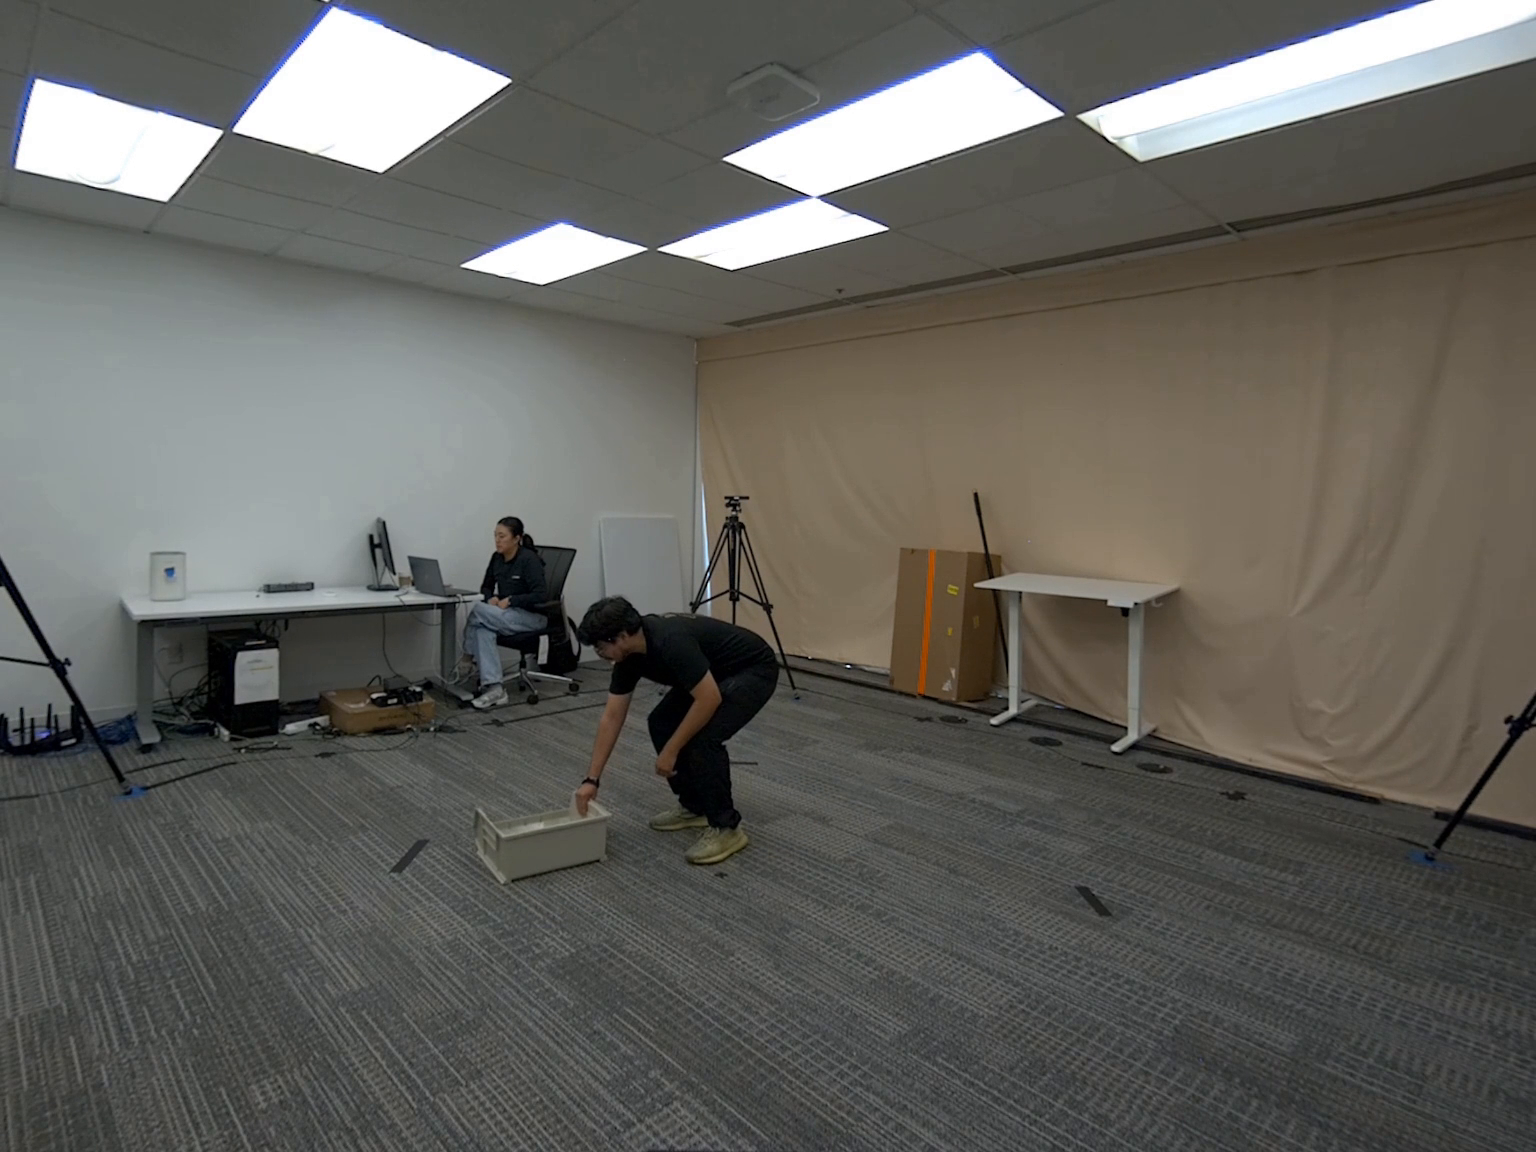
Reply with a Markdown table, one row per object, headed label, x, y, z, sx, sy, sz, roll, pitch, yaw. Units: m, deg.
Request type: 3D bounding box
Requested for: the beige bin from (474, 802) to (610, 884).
| label | x | y | z | sx | sy | sz | roll | pitch | yaw |
| --- | --- | --- | --- | --- | --- | --- | --- | --- | --- |
| beige bin | -0.878 | 0.987 | 3.234 | 0.413 | 0.188 | 0.387 | -1 | 6 | -35 |
